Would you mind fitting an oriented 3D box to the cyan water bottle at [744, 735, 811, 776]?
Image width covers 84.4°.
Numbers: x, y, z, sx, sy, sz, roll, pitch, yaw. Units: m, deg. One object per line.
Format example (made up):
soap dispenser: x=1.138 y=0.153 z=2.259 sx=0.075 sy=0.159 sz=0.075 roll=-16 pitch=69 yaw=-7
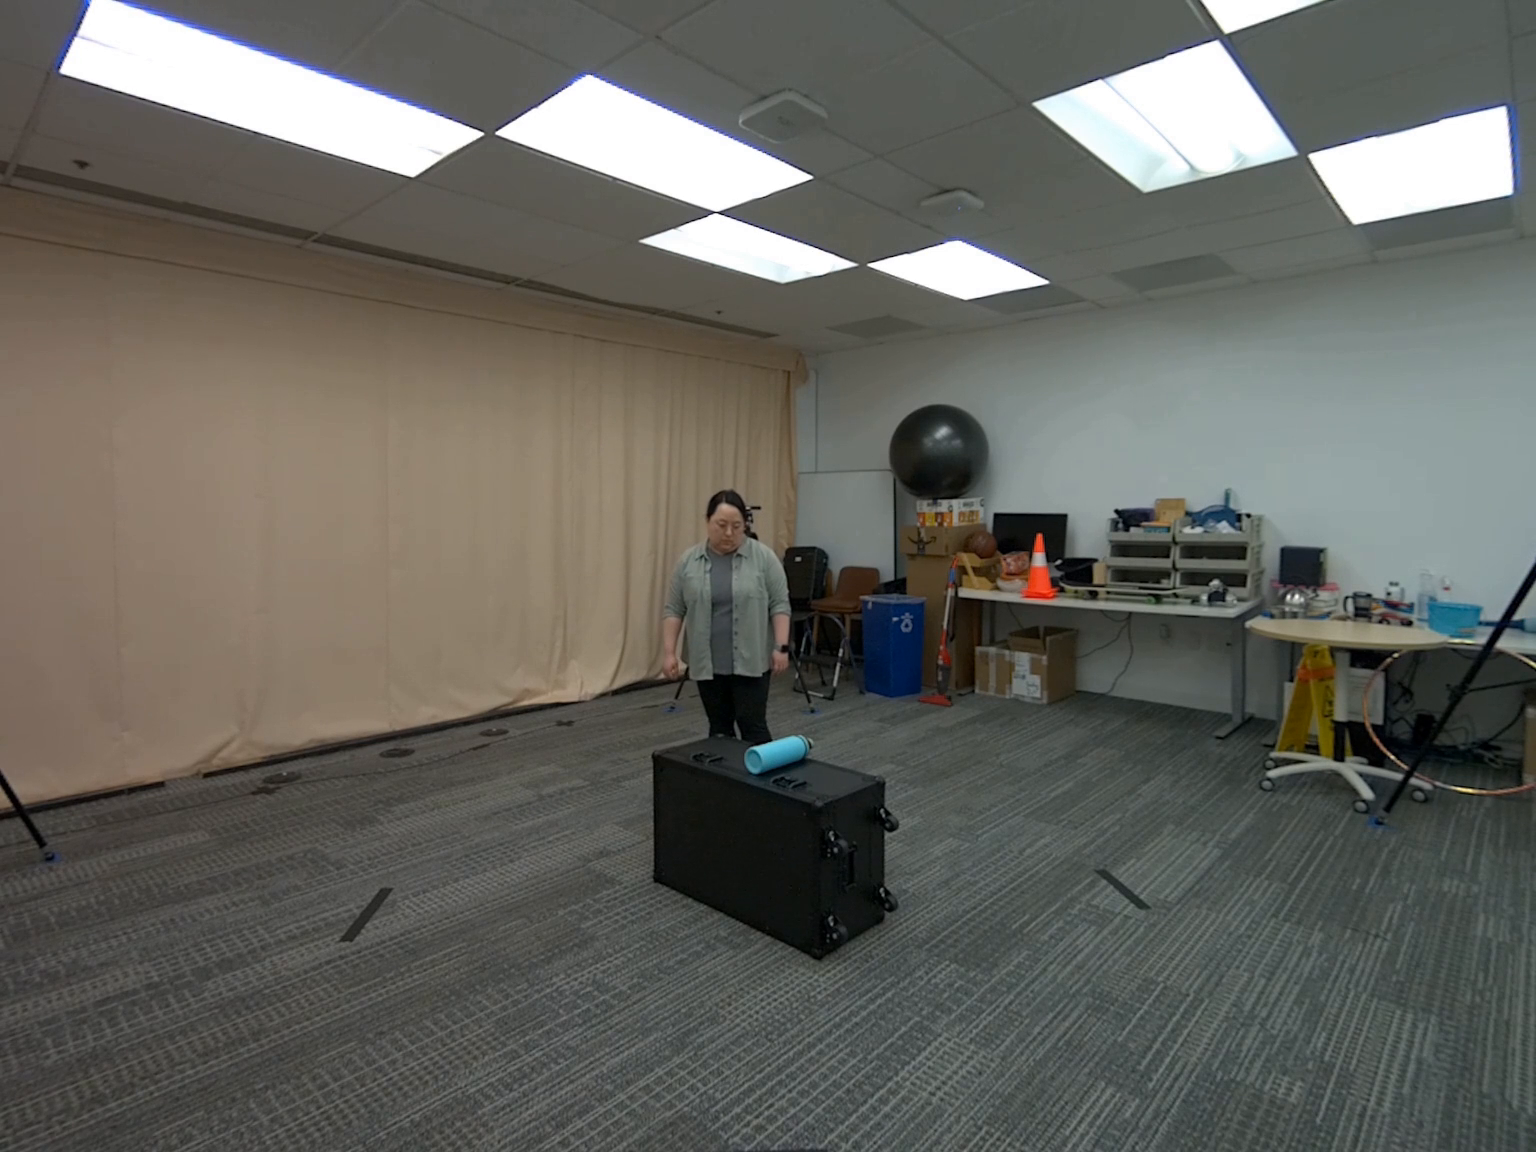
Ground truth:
cyan water bottle: x=0.044 y=0.613 z=2.951 sx=0.095 sy=0.092 sz=0.275 roll=4 pitch=6 yaw=44
